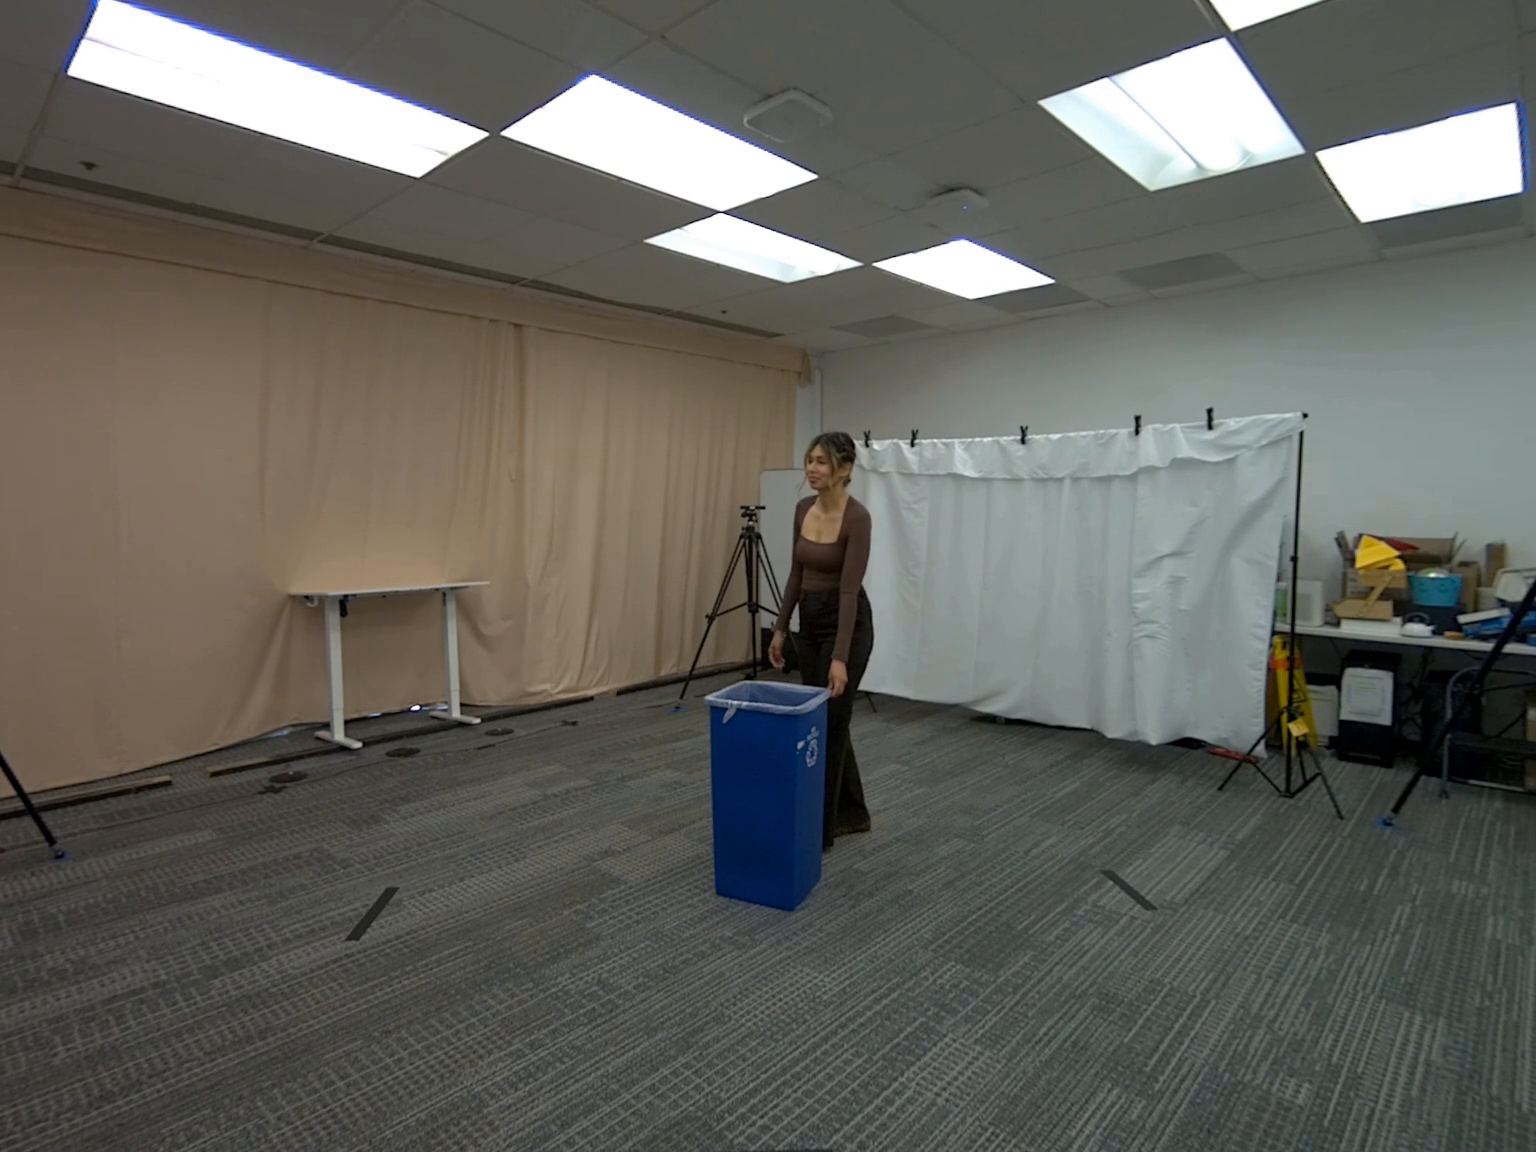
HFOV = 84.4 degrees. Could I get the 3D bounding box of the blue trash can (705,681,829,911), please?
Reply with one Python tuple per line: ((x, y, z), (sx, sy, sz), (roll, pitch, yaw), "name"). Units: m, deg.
((0.005, 0.778, 3.071), (0.388, 0.712, 0.365), (2, 4, 25), "blue trash can")
